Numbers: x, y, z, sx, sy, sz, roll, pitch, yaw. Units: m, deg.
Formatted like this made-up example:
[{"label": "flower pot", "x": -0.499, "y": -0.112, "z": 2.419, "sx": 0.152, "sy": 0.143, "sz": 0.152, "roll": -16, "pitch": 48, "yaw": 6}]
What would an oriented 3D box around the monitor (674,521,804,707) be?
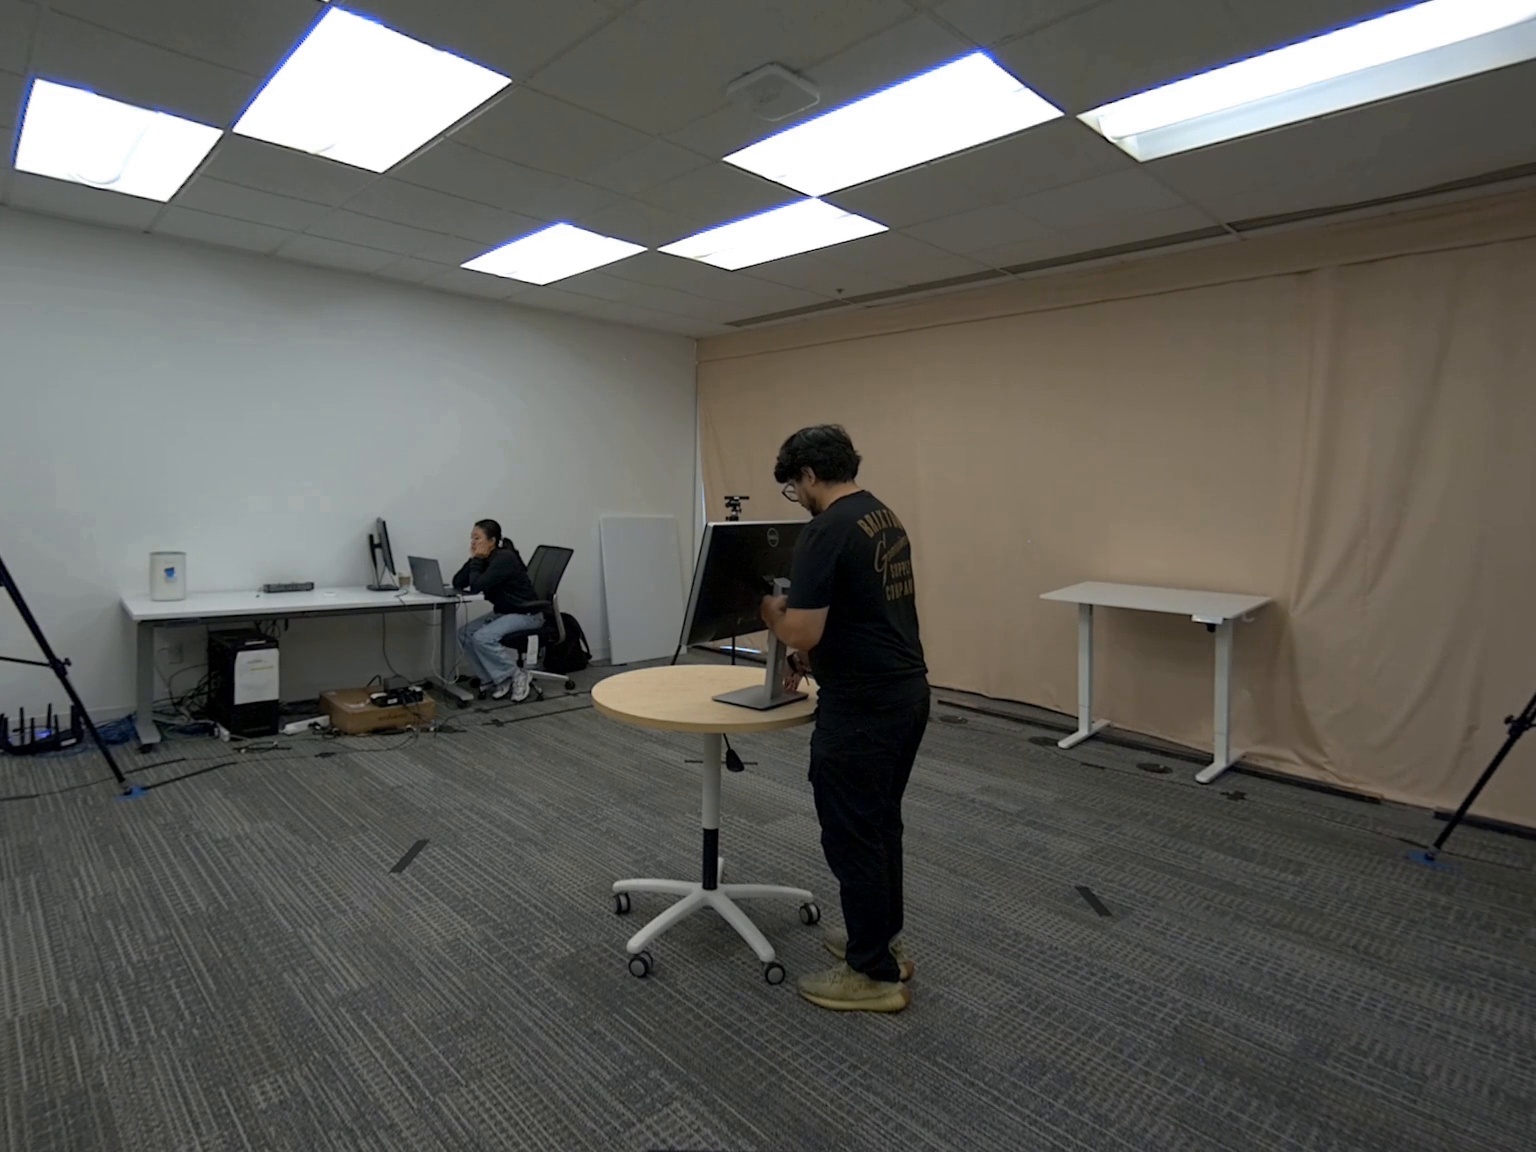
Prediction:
[{"label": "monitor", "x": 0.004, "y": 0.114, "z": 2.533, "sx": 0.216, "sy": 0.551, "sz": 0.553, "roll": 13, "pitch": 10, "yaw": 33}]
